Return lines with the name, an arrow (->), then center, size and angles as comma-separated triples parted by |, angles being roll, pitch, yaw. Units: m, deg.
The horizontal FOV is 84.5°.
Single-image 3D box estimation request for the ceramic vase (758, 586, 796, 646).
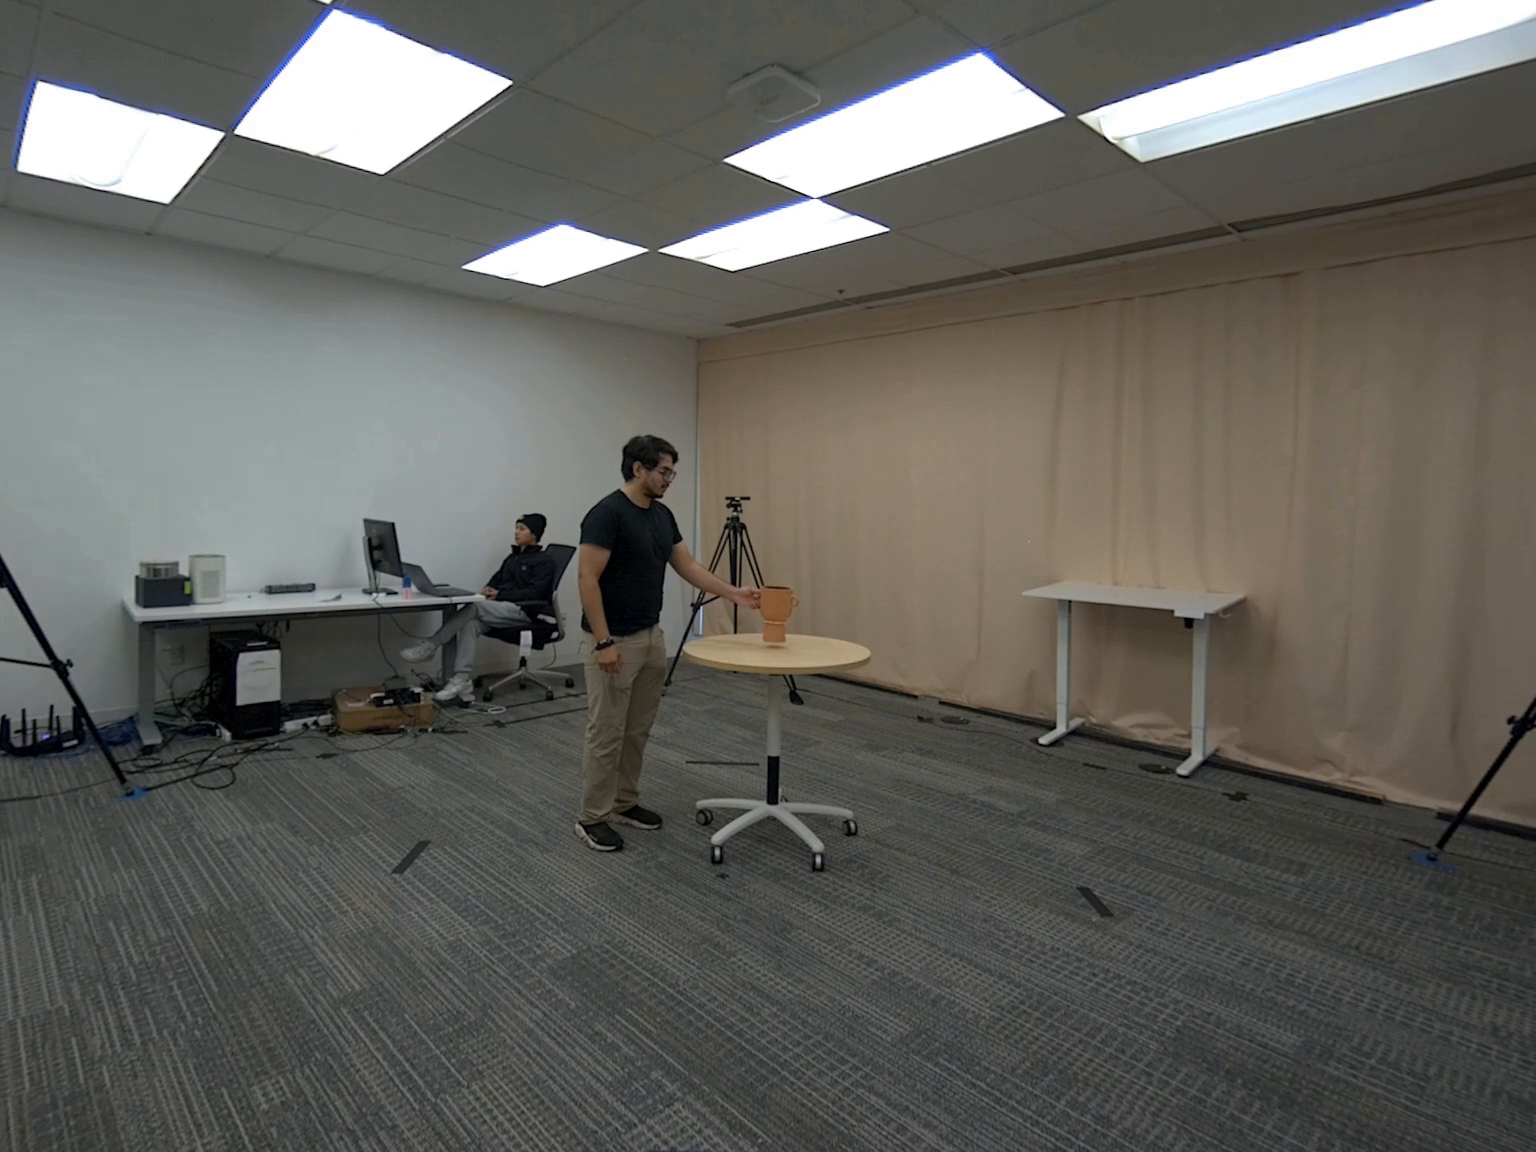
ceramic vase -> 0.020, 0.156, 3.469 | 0.132, 0.219, 0.162 | 0, 6, -26
